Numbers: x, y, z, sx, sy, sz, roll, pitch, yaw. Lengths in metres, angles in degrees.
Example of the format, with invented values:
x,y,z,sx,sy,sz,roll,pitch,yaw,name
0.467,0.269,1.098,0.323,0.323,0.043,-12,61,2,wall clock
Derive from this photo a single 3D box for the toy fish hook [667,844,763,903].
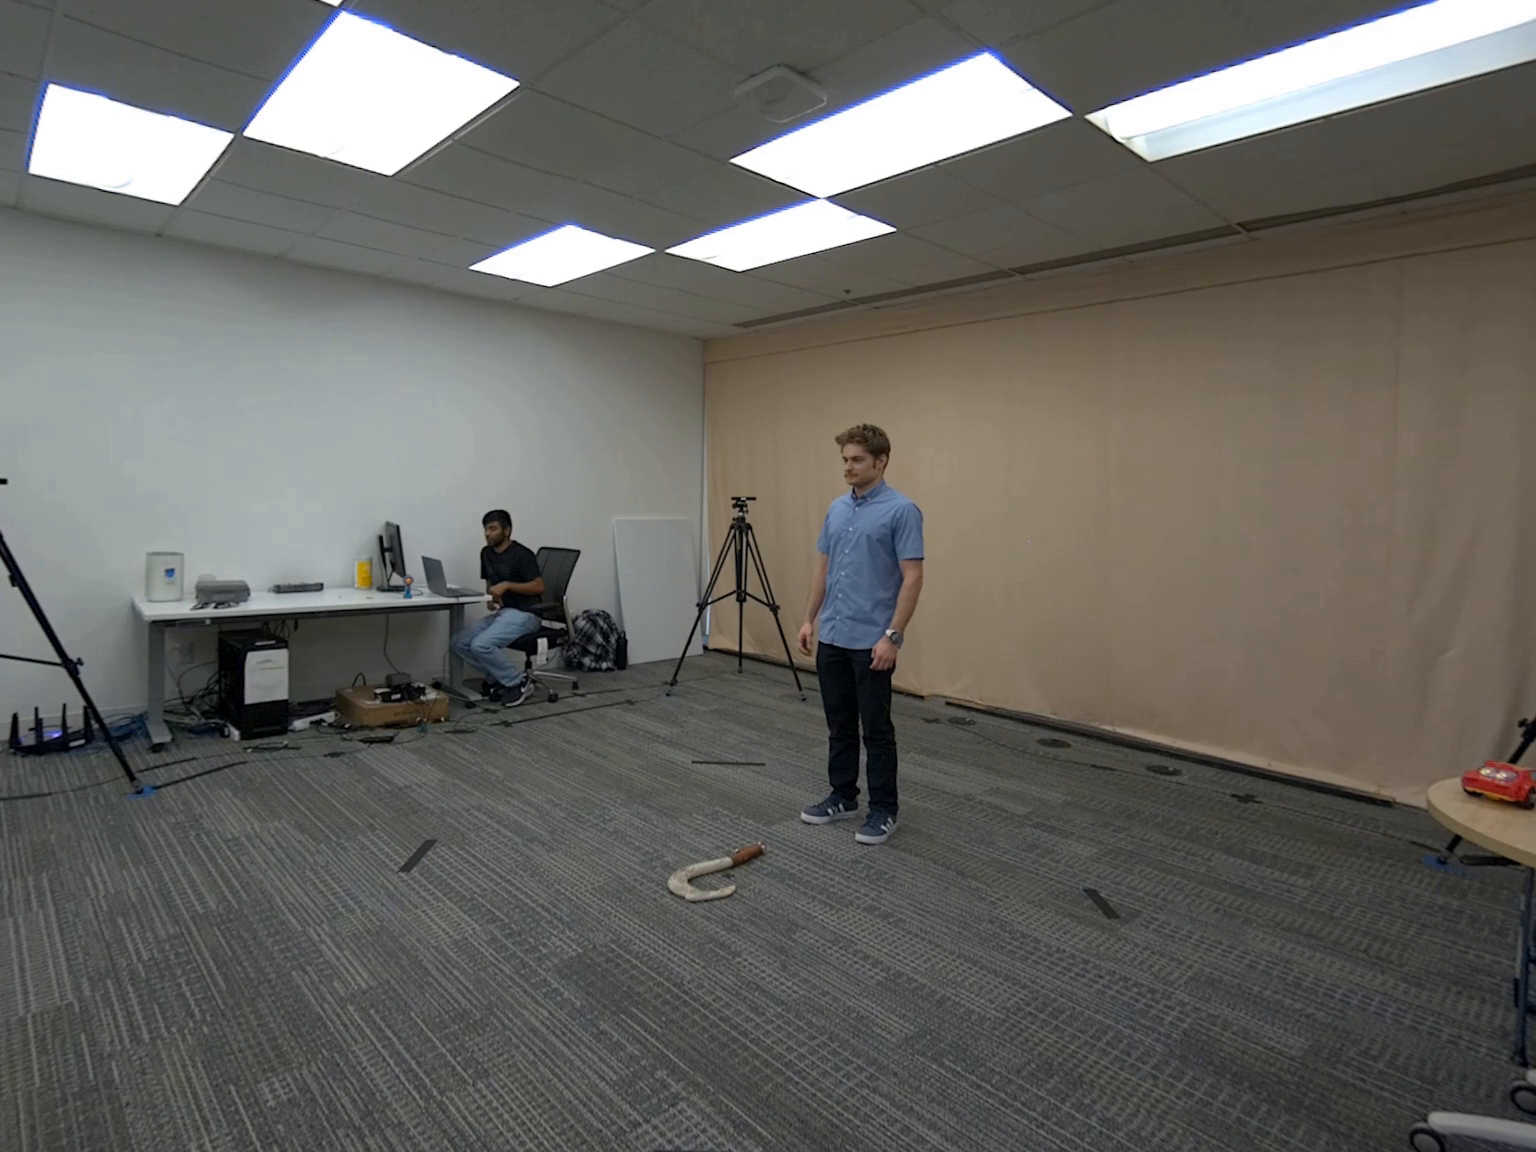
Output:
x,y,z,sx,sy,sz,roll,pitch,yaw,name
-0.150,1.091,3.102,0.231,0.048,0.495,16,15,40,toy fish hook
